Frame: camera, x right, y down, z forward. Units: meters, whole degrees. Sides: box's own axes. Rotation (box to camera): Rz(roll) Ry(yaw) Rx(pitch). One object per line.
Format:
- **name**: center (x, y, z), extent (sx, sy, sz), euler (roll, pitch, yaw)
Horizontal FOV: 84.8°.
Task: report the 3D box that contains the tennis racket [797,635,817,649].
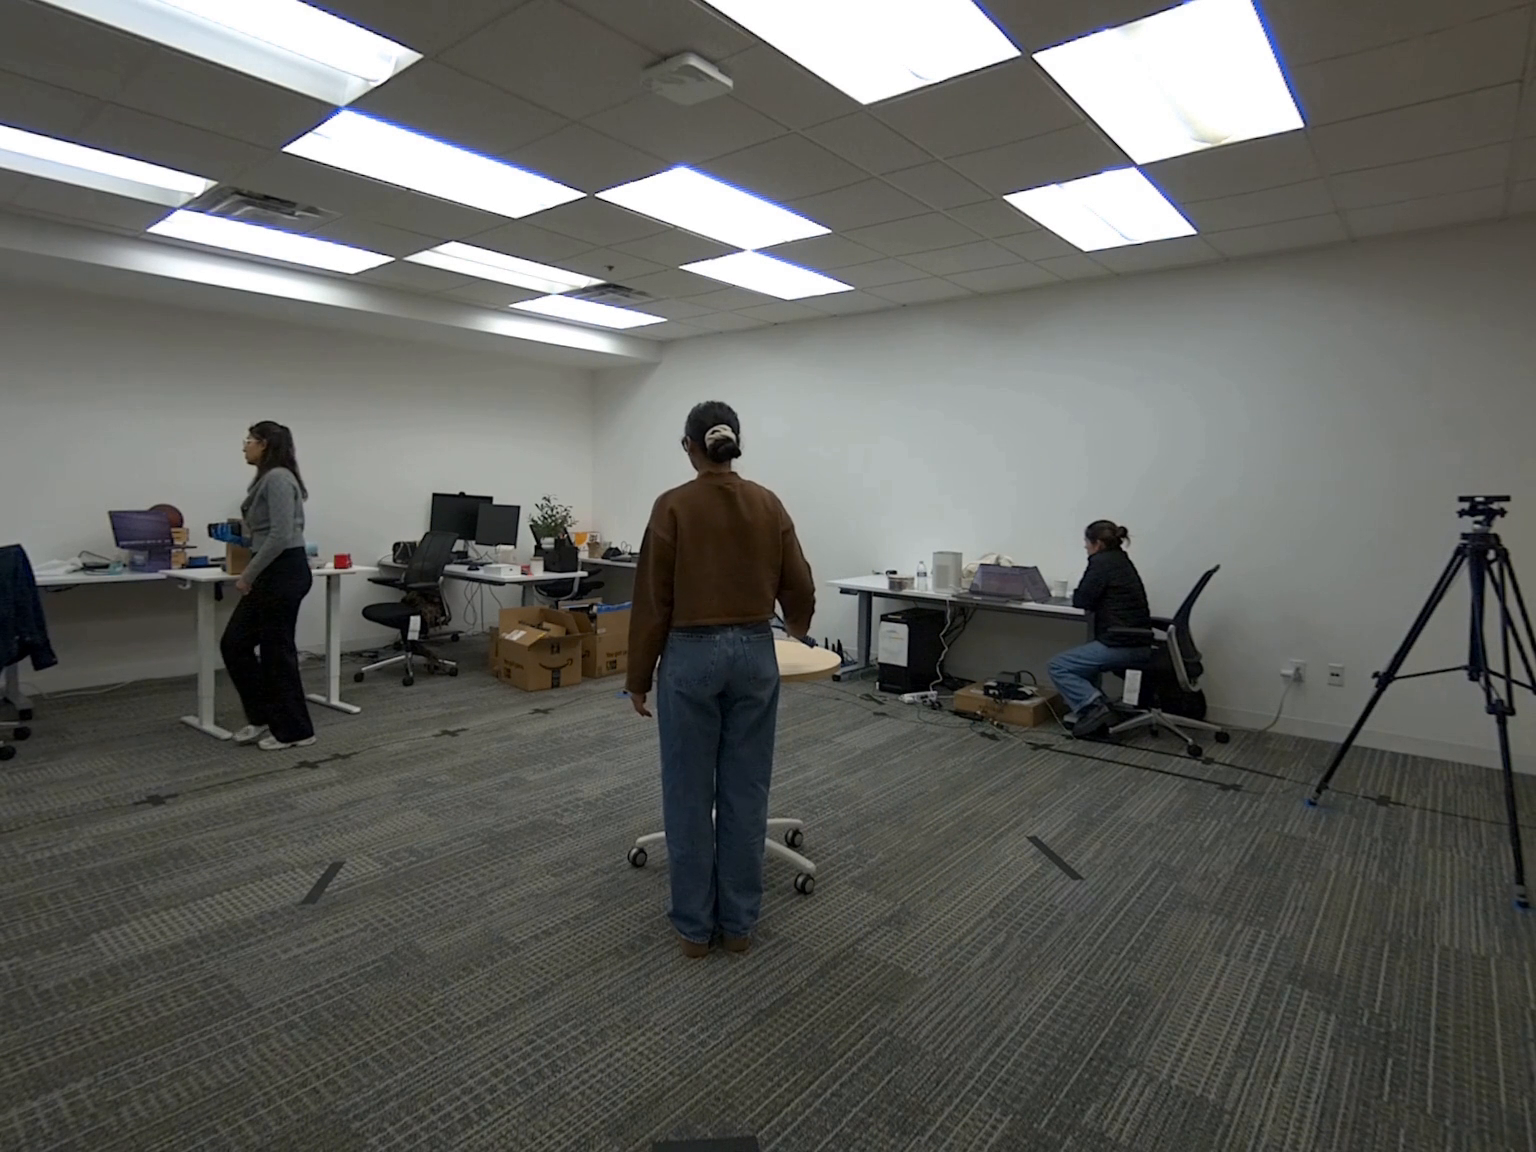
- **tennis racket**: center (-0.023, 0.137, 2.887), extent (0.431, 0.031, 0.216), euler (29, 39, -3)
